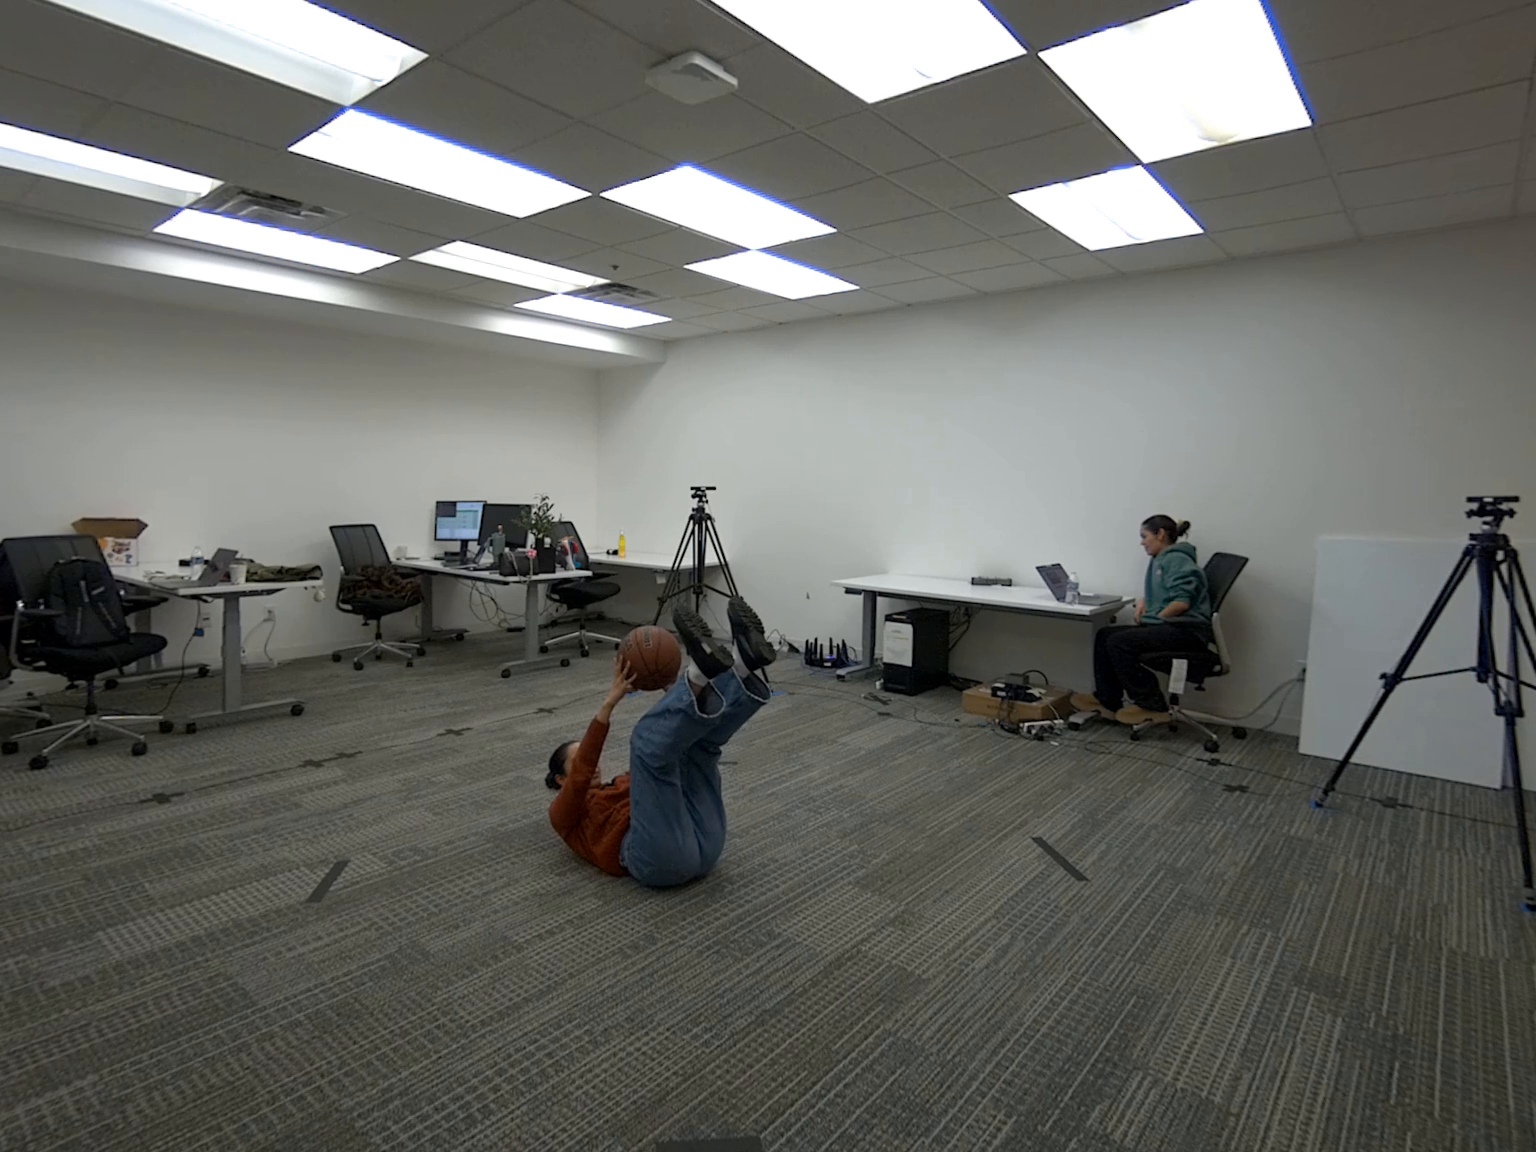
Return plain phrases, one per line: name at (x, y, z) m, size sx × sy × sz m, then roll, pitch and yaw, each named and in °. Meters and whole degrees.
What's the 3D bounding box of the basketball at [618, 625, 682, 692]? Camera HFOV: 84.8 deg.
basketball at (-0.441, 0.294, 3.108) m, size 0.236 × 0.235 × 0.237 m, roll -3°, pitch 3°, yaw -2°
